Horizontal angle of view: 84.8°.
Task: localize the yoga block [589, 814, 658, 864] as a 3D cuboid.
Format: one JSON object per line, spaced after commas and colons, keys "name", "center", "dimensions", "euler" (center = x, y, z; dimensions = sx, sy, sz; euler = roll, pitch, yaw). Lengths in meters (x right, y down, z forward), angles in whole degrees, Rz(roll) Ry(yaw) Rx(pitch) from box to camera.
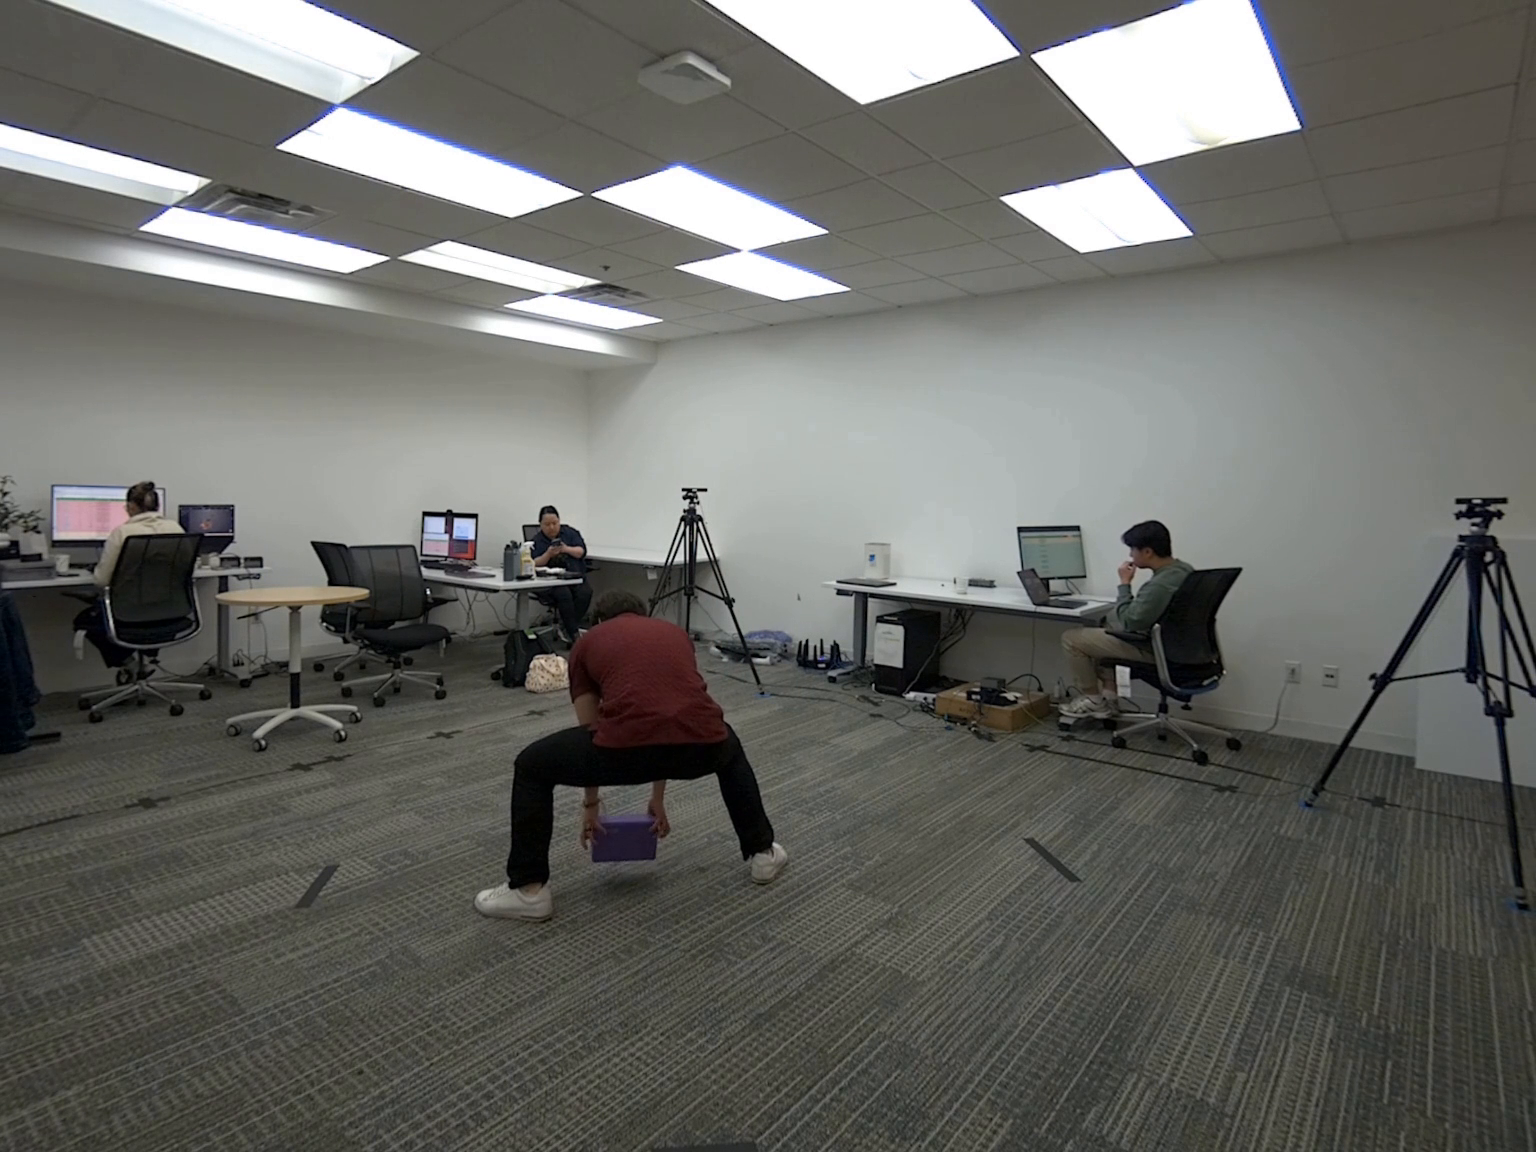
{"name": "yoga block", "center": [-0.531, 0.936, 3.046], "dimensions": [0.227, 0.148, 0.078], "euler": [6, 6, -10]}
